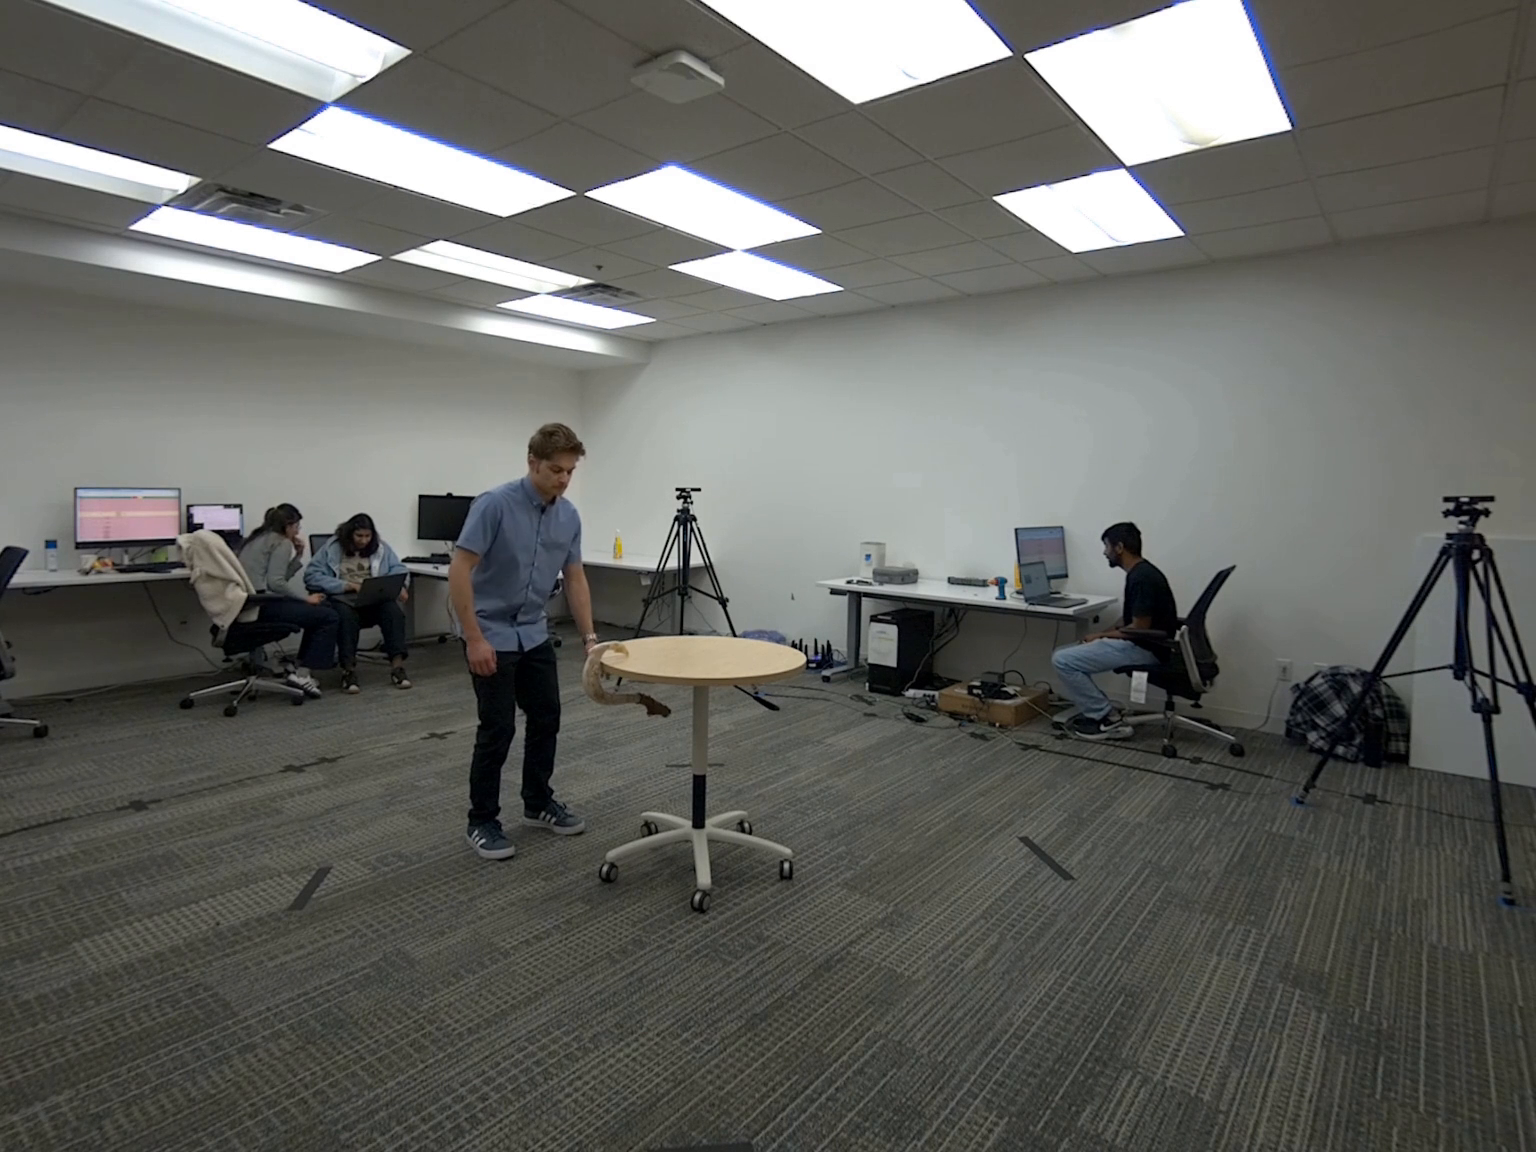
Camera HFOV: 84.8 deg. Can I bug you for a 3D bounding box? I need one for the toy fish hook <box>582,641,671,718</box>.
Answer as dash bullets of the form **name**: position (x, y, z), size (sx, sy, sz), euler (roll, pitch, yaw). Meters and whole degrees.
- **toy fish hook**: position (-0.508, 0.385, 3.081), size (0.050, 0.226, 0.486), euler (7, -17, 36)
